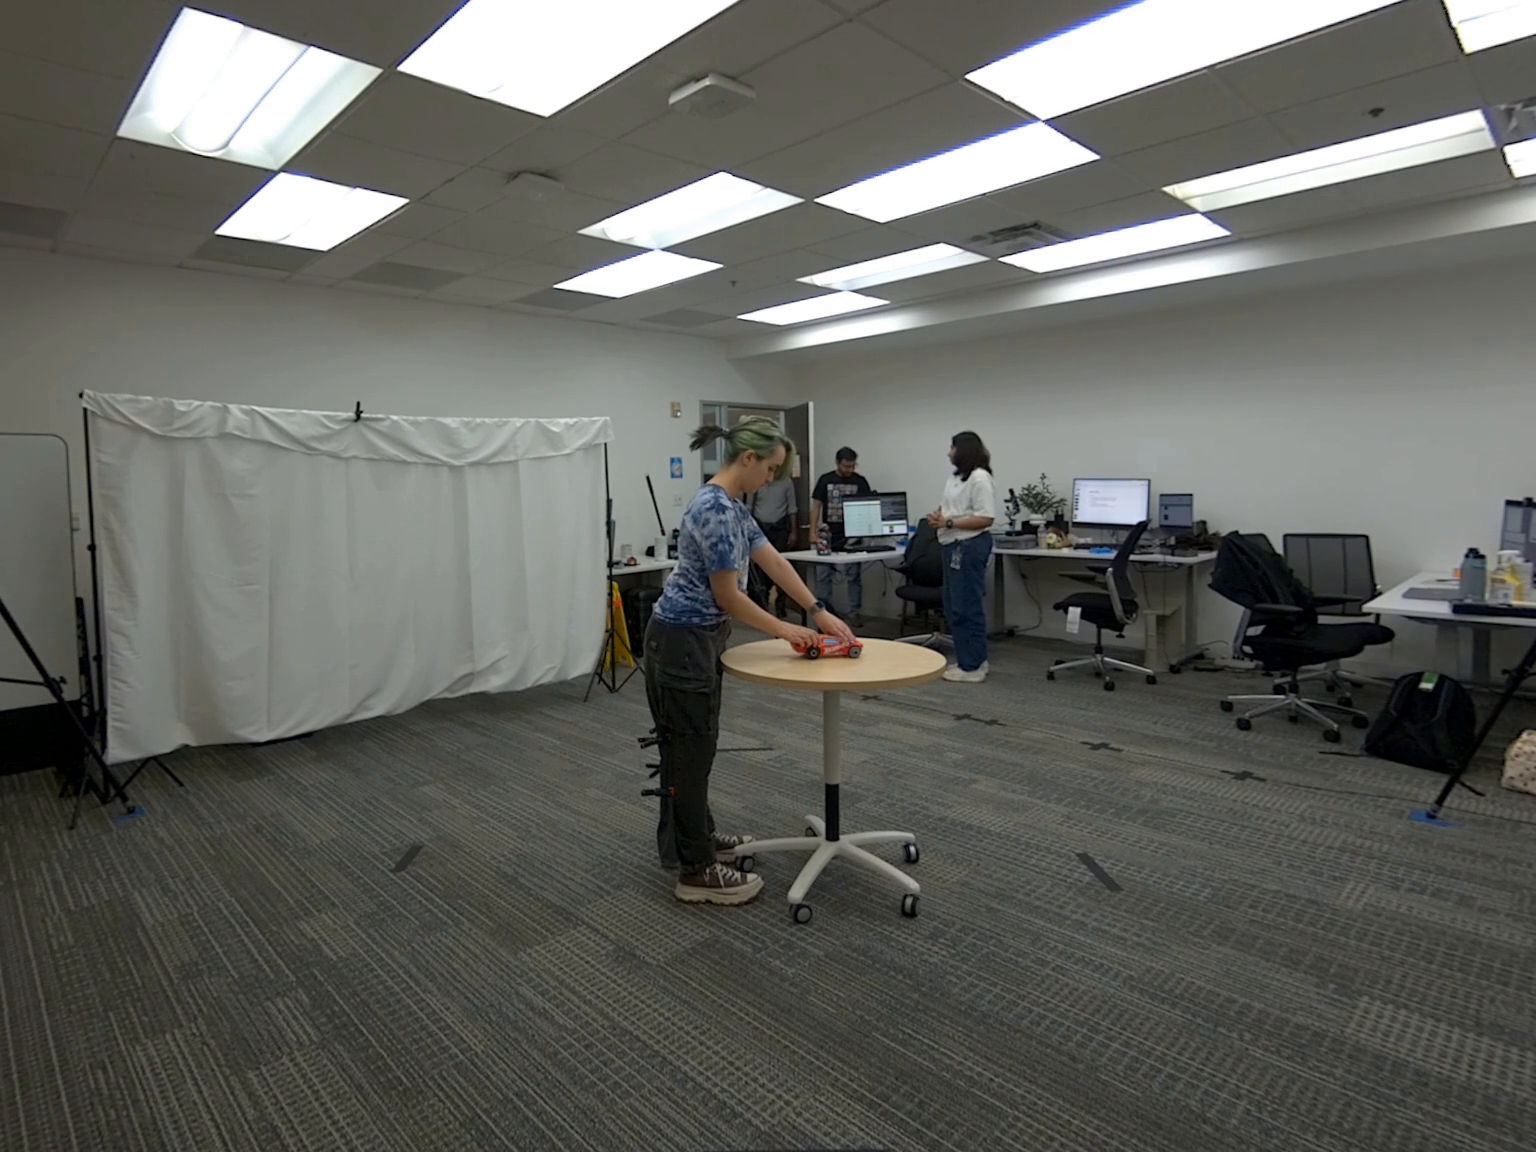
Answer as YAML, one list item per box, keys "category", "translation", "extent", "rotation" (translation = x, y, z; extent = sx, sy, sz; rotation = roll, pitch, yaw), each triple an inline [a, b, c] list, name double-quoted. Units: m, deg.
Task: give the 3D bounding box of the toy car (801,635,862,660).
- category: "toy car"
  translation: [0.191, 0.242, 2.947]
  extent: [0.253, 0.083, 0.131]
  rotation: [12, 5, -5]
